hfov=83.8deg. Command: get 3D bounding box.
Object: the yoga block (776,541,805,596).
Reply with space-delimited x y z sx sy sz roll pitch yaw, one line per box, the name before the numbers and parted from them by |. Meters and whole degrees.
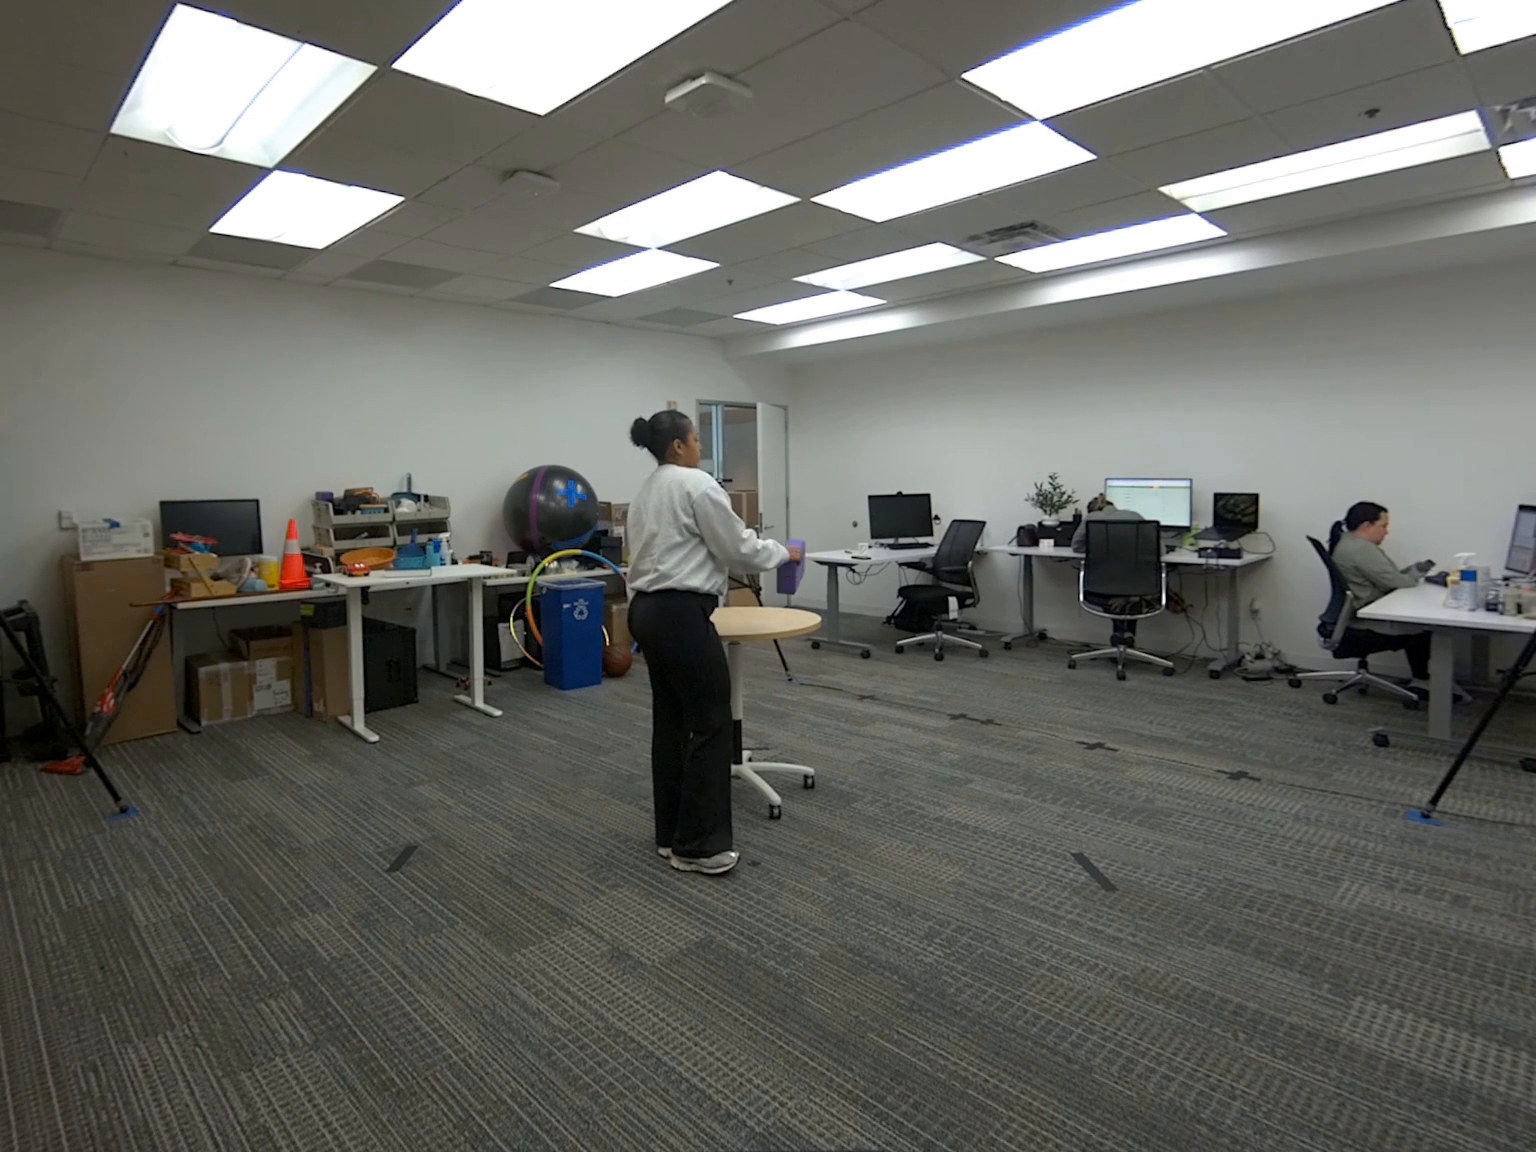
yoga block | 0.083 -0.026 3.373 0.077 0.146 0.231 5 22 8
